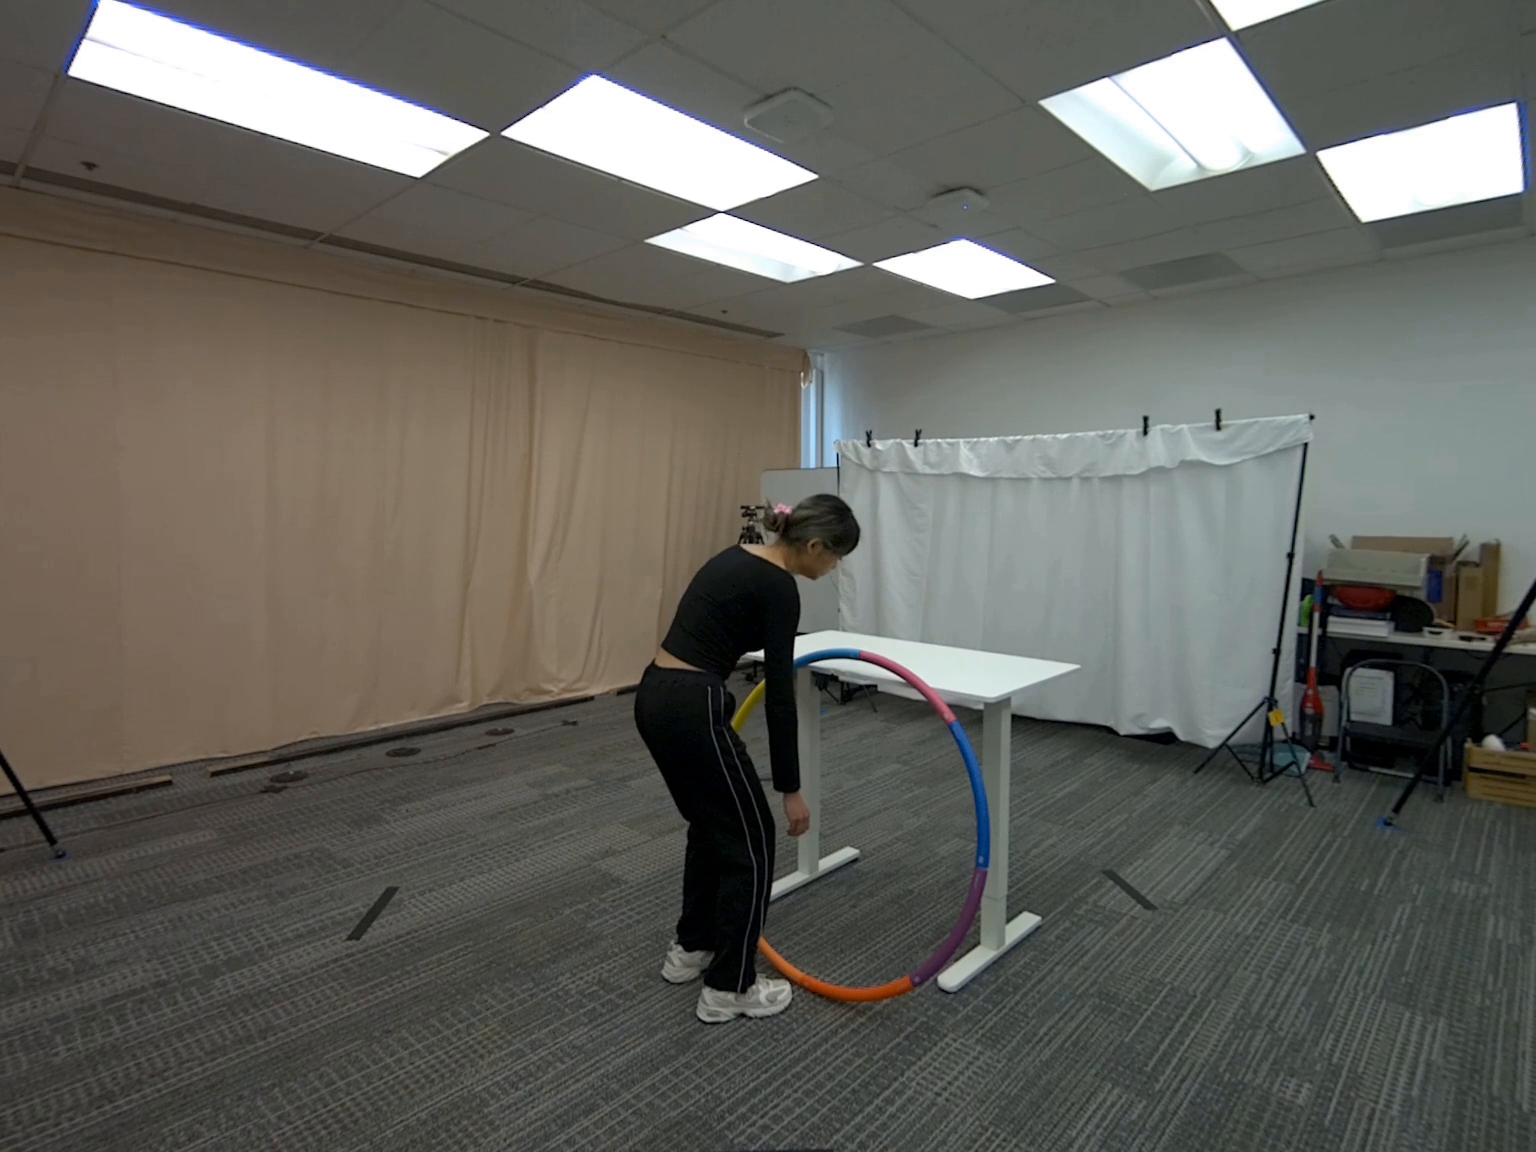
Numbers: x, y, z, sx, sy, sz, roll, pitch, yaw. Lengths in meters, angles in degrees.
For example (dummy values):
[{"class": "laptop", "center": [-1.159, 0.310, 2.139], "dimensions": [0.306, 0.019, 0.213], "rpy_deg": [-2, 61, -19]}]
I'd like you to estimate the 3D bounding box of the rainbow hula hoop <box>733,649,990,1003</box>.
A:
[{"class": "rainbow hula hoop", "center": [0.196, 0.709, 2.495], "dimensions": [1.011, 0.982, 0.034], "rpy_deg": [4, -10, 43]}]
